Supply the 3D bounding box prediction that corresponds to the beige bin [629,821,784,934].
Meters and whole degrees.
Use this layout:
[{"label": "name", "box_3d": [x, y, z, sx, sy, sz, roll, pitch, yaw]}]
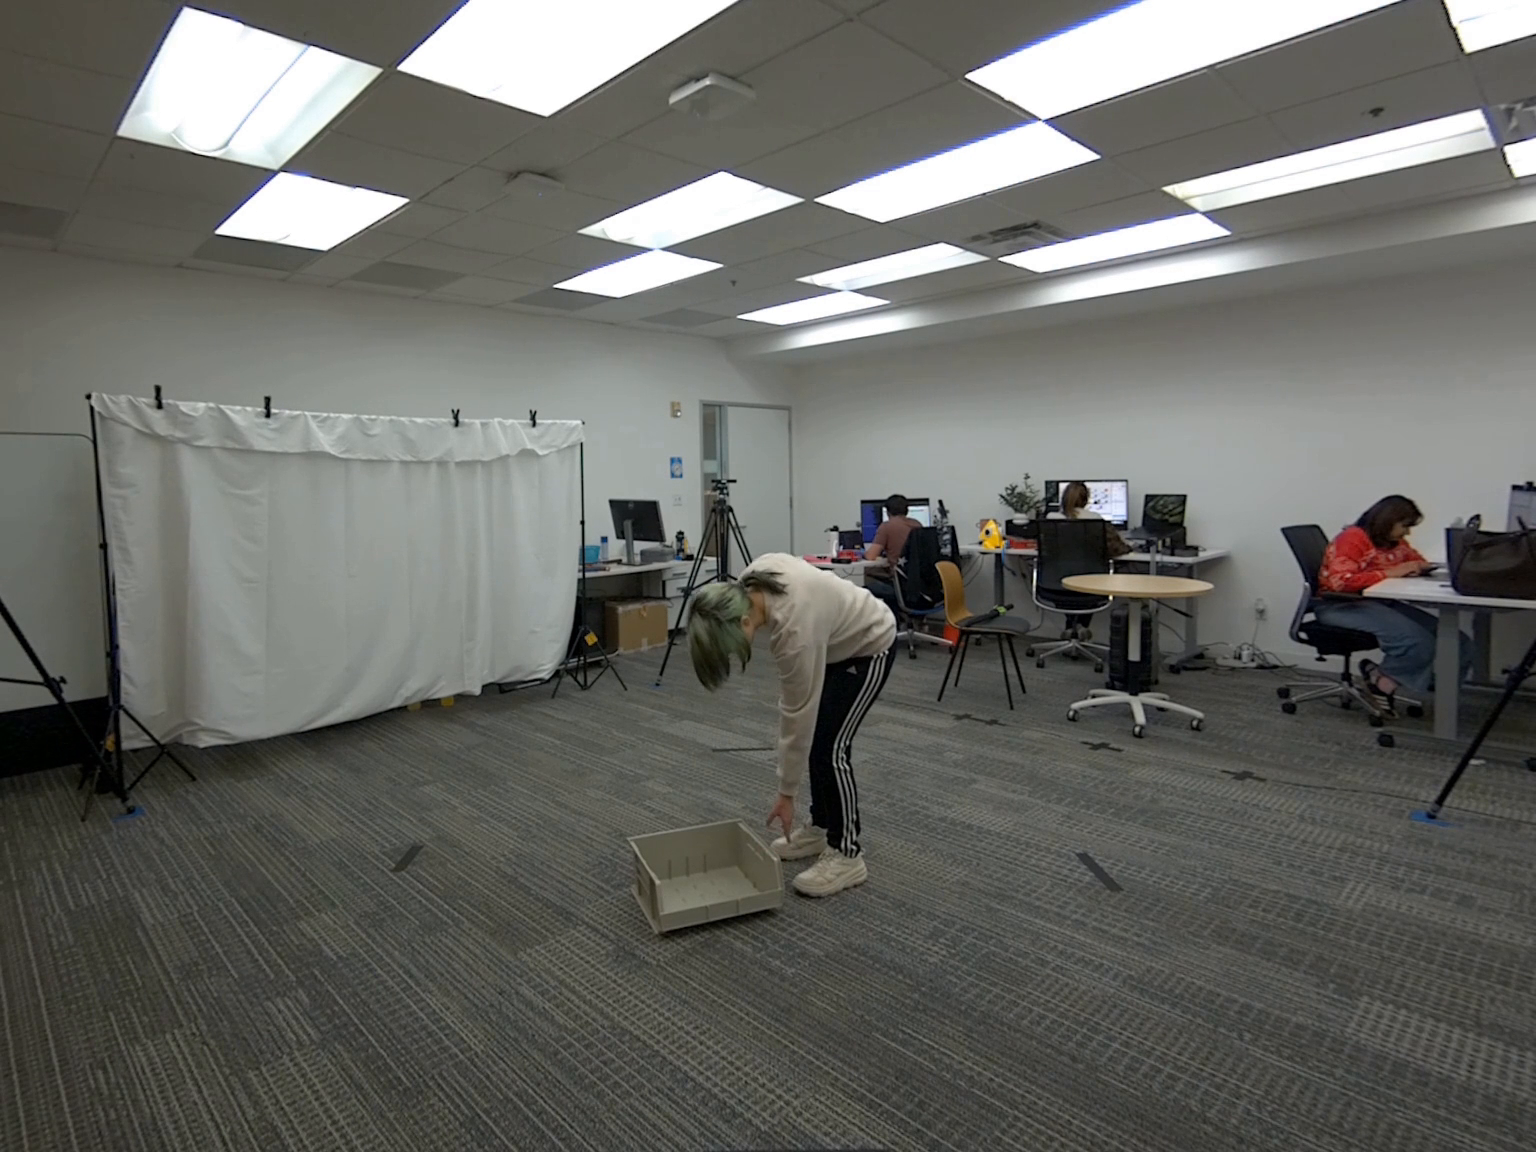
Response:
[{"label": "beige bin", "box_3d": [-0.207, 0.993, 2.823, 0.414, 0.188, 0.386, -4, 6, -22]}]
